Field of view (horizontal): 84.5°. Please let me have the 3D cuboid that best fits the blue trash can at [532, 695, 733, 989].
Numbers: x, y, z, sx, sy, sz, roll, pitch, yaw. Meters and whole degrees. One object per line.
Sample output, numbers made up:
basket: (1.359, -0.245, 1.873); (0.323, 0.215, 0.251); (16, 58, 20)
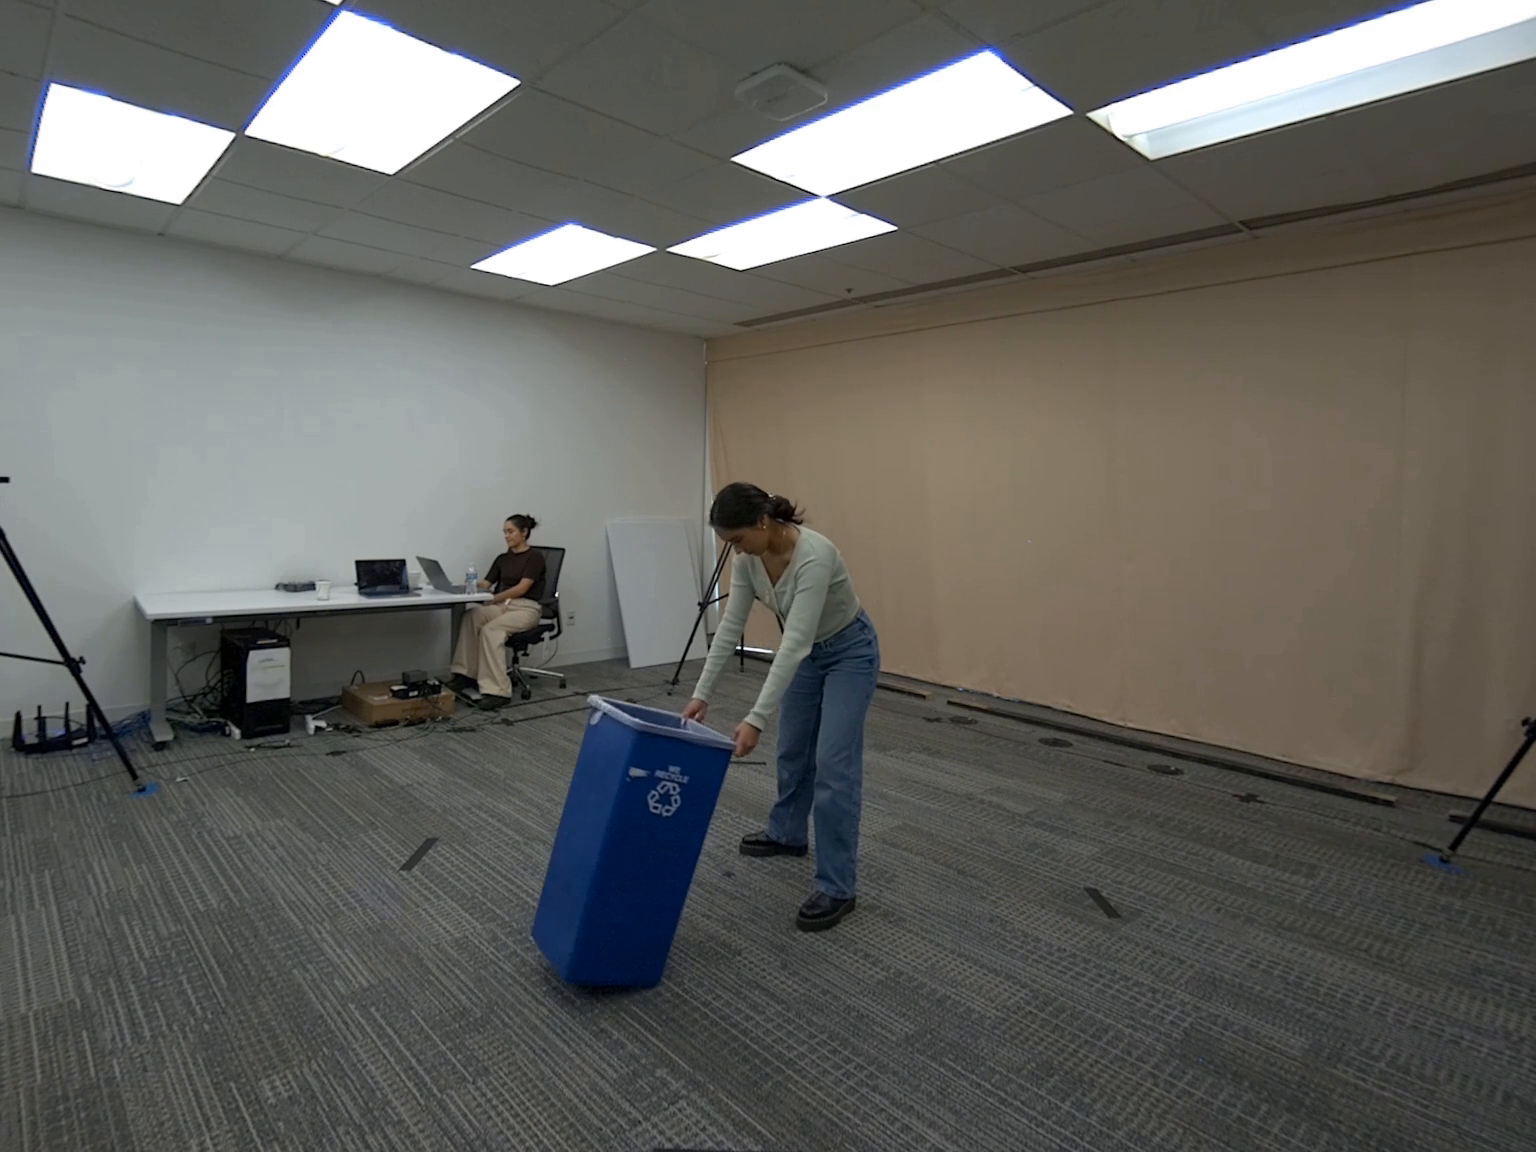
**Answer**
blue trash can: (-0.401, 0.768, 2.489); (0.364, 0.715, 0.387); (20, -7, -33)
